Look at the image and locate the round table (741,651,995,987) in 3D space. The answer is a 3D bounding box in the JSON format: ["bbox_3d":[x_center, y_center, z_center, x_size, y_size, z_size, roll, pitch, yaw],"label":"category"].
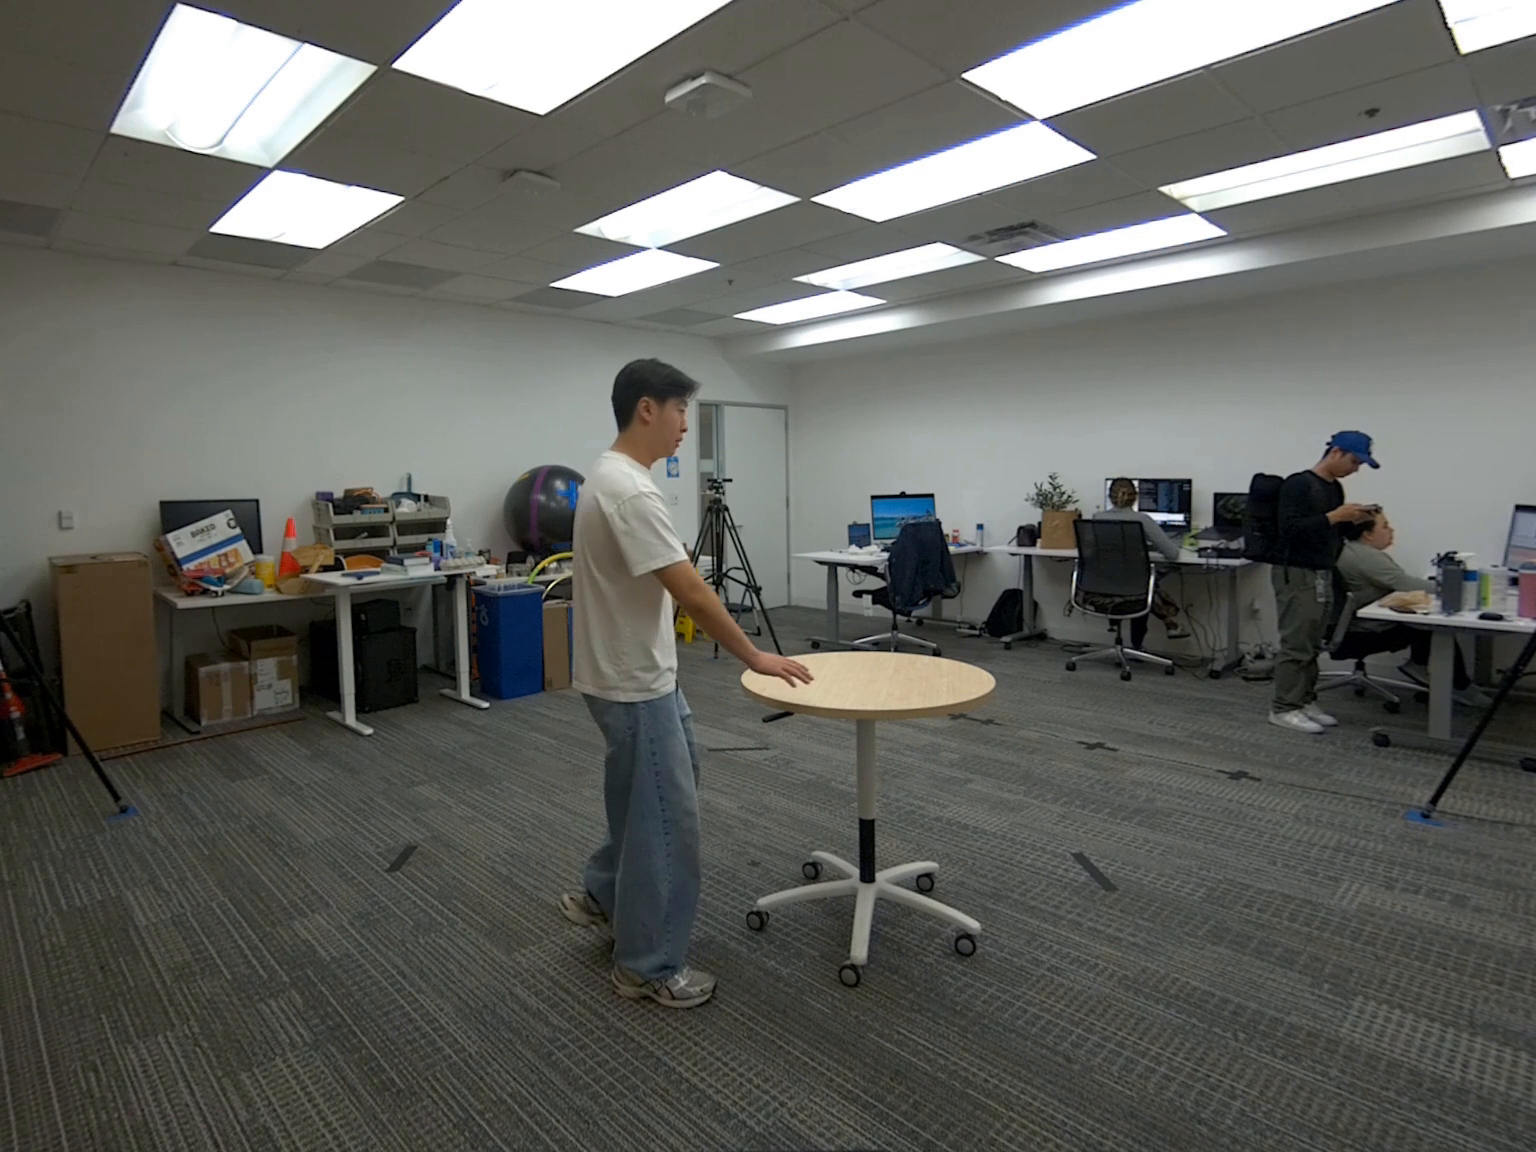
[{"bbox_3d":[0.308,0.701,2.660,0.763,0.791,0.768,-1,5,-2],"label":"round table"}]
